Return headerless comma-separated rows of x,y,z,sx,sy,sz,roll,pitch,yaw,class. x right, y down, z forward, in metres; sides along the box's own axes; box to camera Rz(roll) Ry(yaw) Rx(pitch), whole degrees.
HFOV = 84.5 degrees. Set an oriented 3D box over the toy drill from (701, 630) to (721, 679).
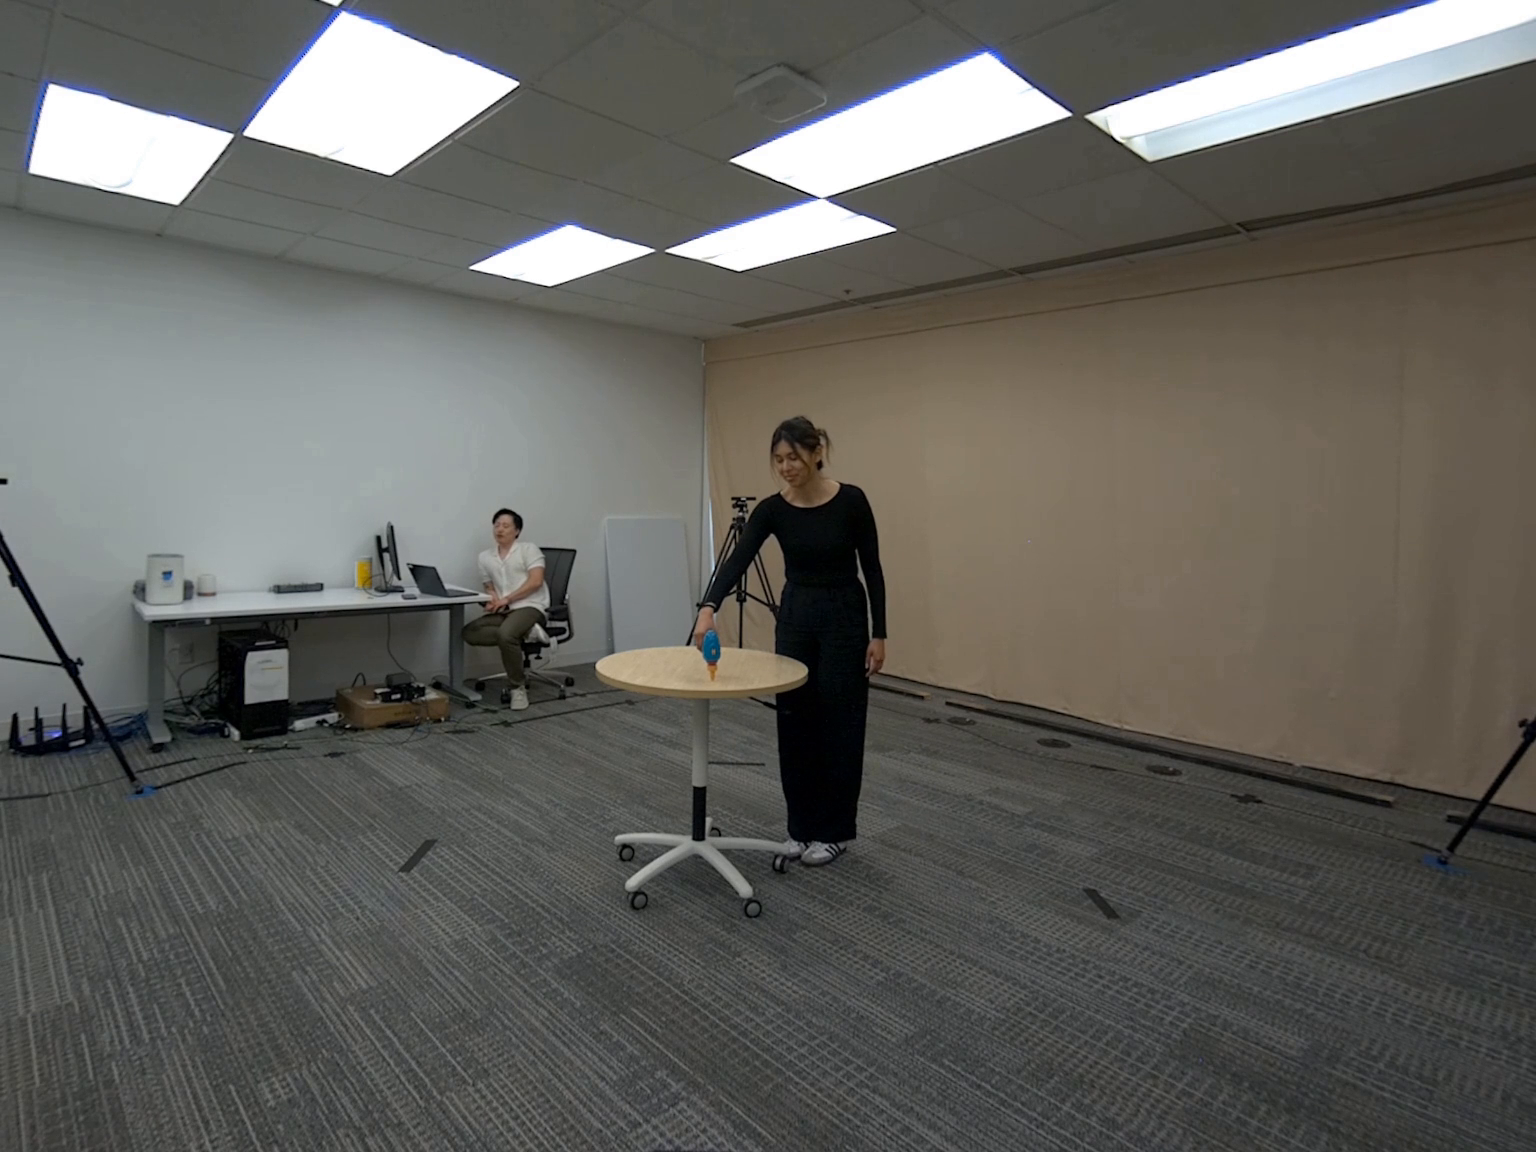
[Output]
-0.209,0.262,2.830,0.060,0.169,0.148,-6,4,-15,toy drill
